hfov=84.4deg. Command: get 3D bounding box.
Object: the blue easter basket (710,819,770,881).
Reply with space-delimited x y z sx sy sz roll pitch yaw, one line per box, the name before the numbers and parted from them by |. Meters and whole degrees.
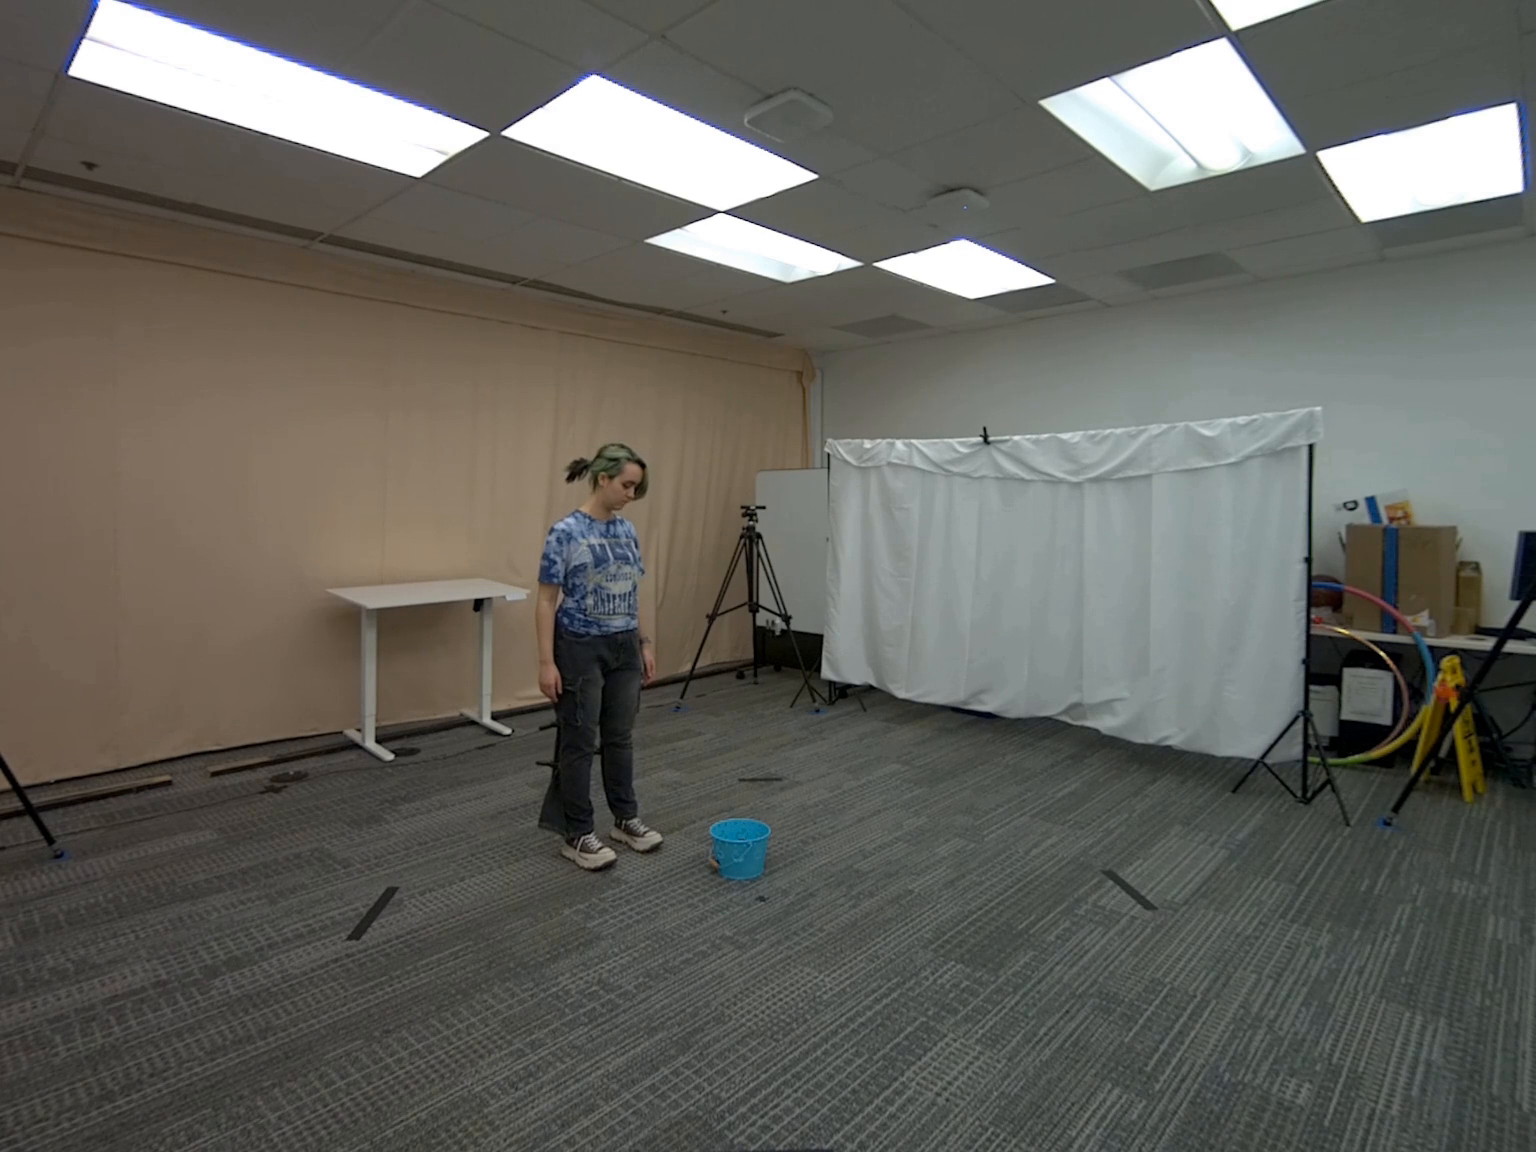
blue easter basket | -0.106 1.041 3.228 0.243 0.155 0.244 -1 4 -2
